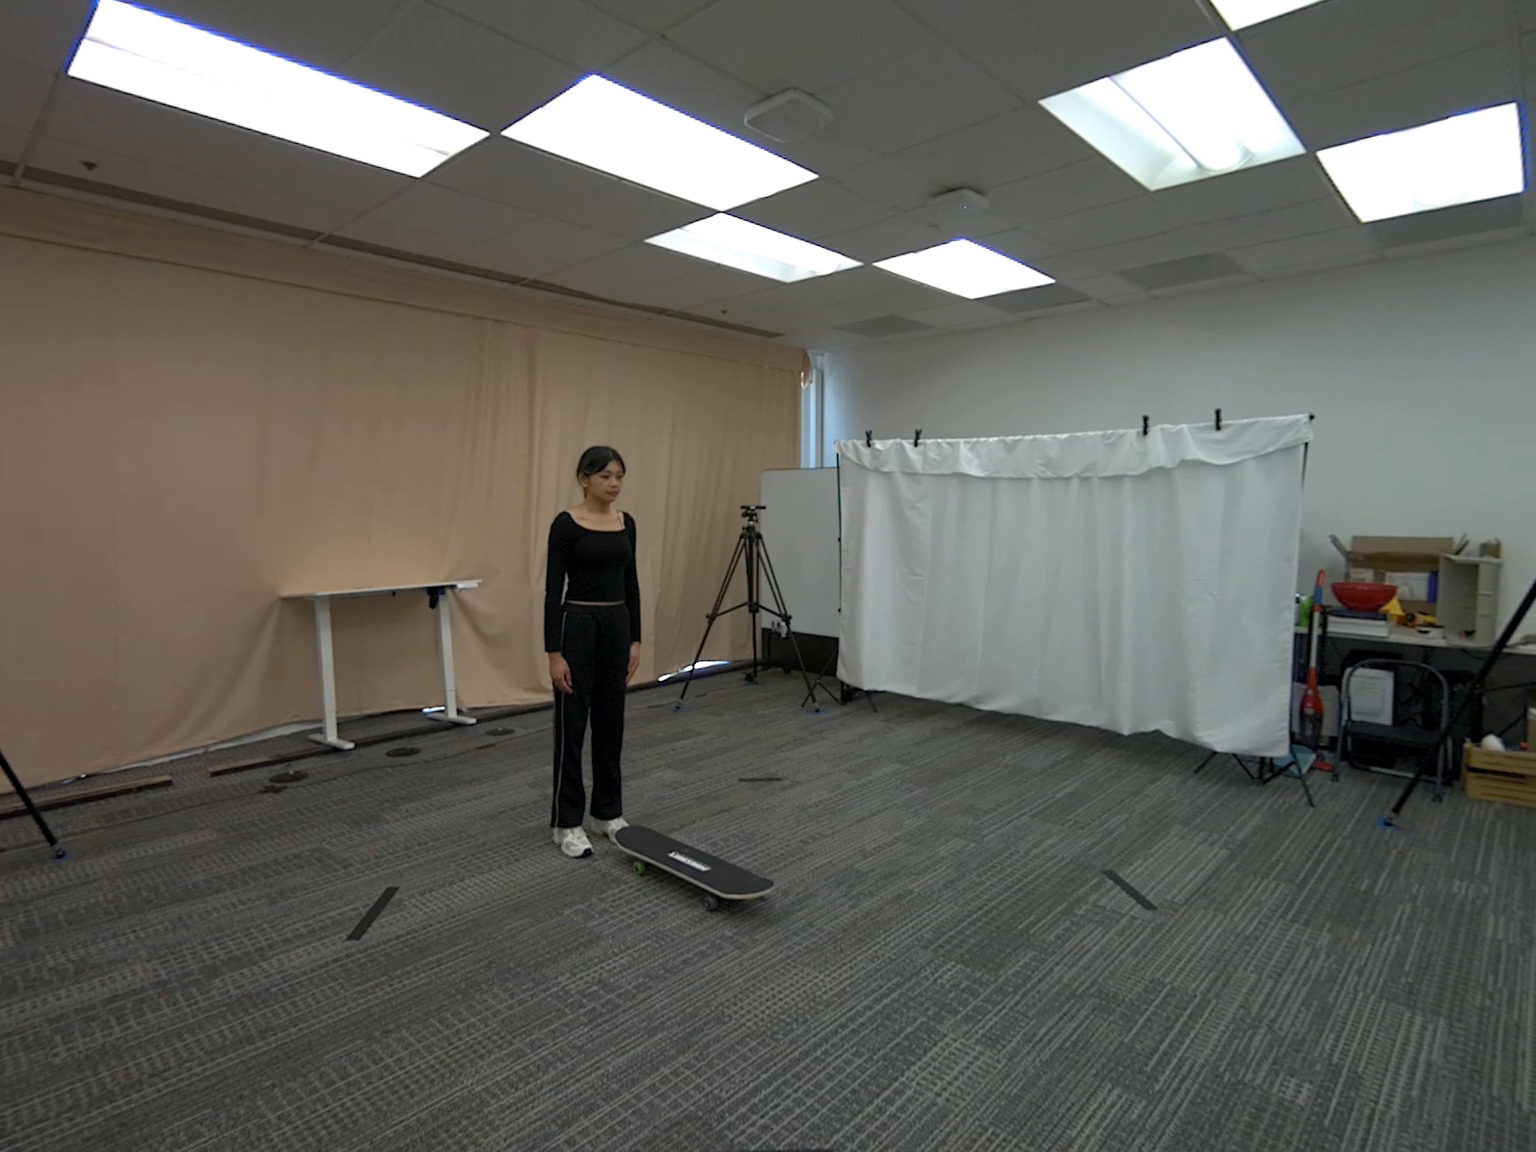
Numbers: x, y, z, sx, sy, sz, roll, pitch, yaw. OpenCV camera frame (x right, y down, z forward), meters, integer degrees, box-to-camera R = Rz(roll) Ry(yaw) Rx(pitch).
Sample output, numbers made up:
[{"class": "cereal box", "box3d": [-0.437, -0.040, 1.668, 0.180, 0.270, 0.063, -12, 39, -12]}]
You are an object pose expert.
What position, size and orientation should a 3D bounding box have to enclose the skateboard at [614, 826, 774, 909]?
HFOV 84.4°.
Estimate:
[{"class": "skateboard", "box3d": [-0.289, 1.079, 3.096, 0.812, 0.110, 0.187, 4, 6, 44]}]
